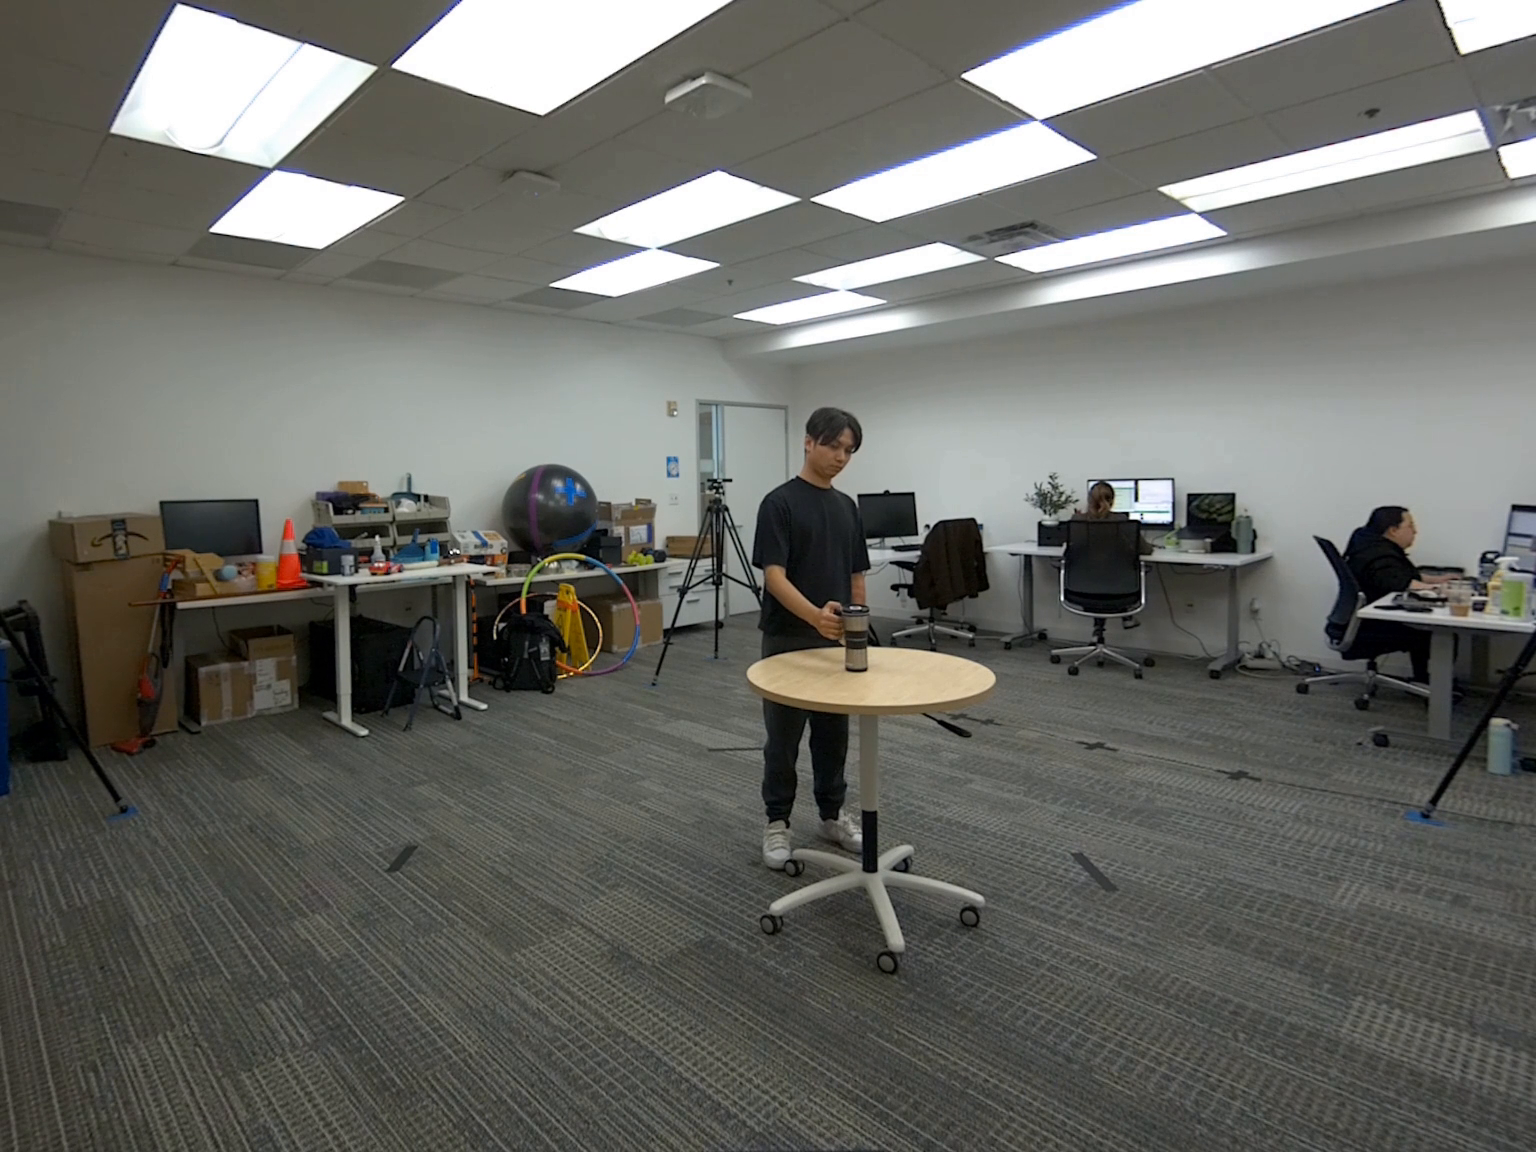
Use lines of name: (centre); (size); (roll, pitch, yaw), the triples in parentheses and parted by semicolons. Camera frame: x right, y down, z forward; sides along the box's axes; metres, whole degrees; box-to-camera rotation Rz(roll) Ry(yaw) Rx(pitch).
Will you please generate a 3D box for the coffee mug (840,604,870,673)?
coffee mug: (0.274, 0.202, 2.739); (0.086, 0.202, 0.125); (-5, 7, -23)
